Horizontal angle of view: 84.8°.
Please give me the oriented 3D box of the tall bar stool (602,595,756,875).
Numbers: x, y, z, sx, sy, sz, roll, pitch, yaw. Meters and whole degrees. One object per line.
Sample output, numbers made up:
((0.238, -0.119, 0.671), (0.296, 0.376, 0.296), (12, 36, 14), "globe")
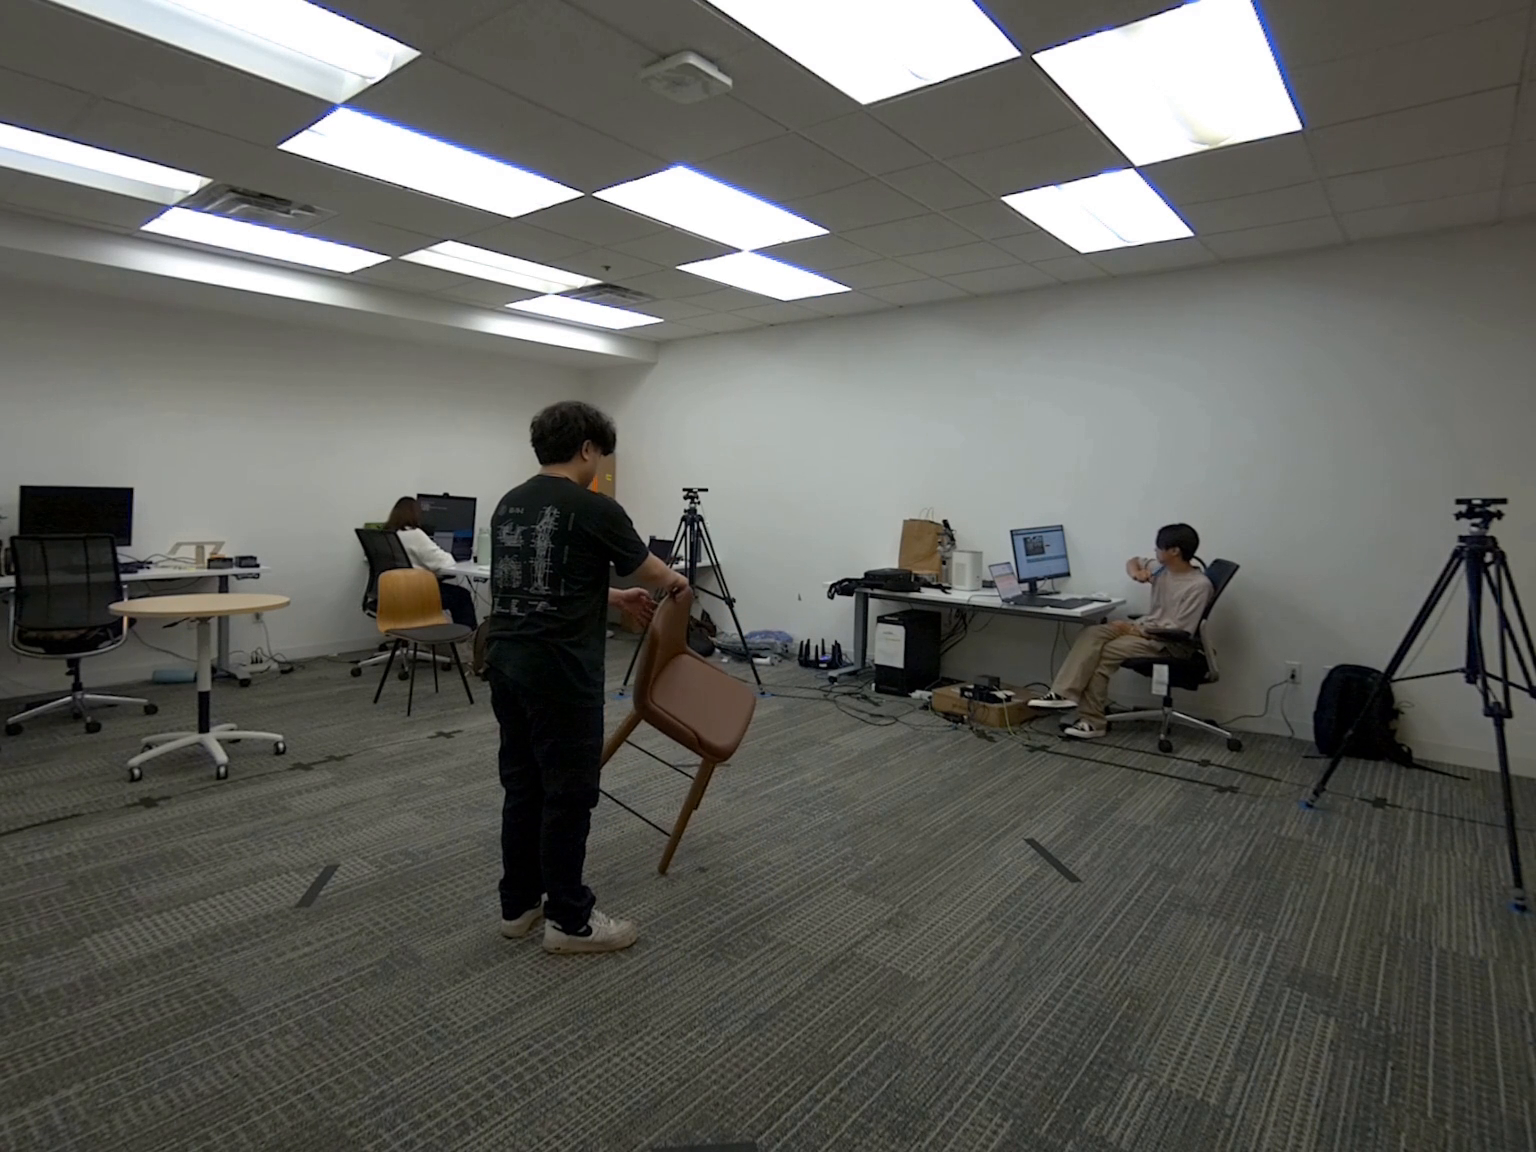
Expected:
((-0.346, 0.545, 3.094), (0.472, 0.882, 0.457), (29, 23, 5), "tall bar stool")
